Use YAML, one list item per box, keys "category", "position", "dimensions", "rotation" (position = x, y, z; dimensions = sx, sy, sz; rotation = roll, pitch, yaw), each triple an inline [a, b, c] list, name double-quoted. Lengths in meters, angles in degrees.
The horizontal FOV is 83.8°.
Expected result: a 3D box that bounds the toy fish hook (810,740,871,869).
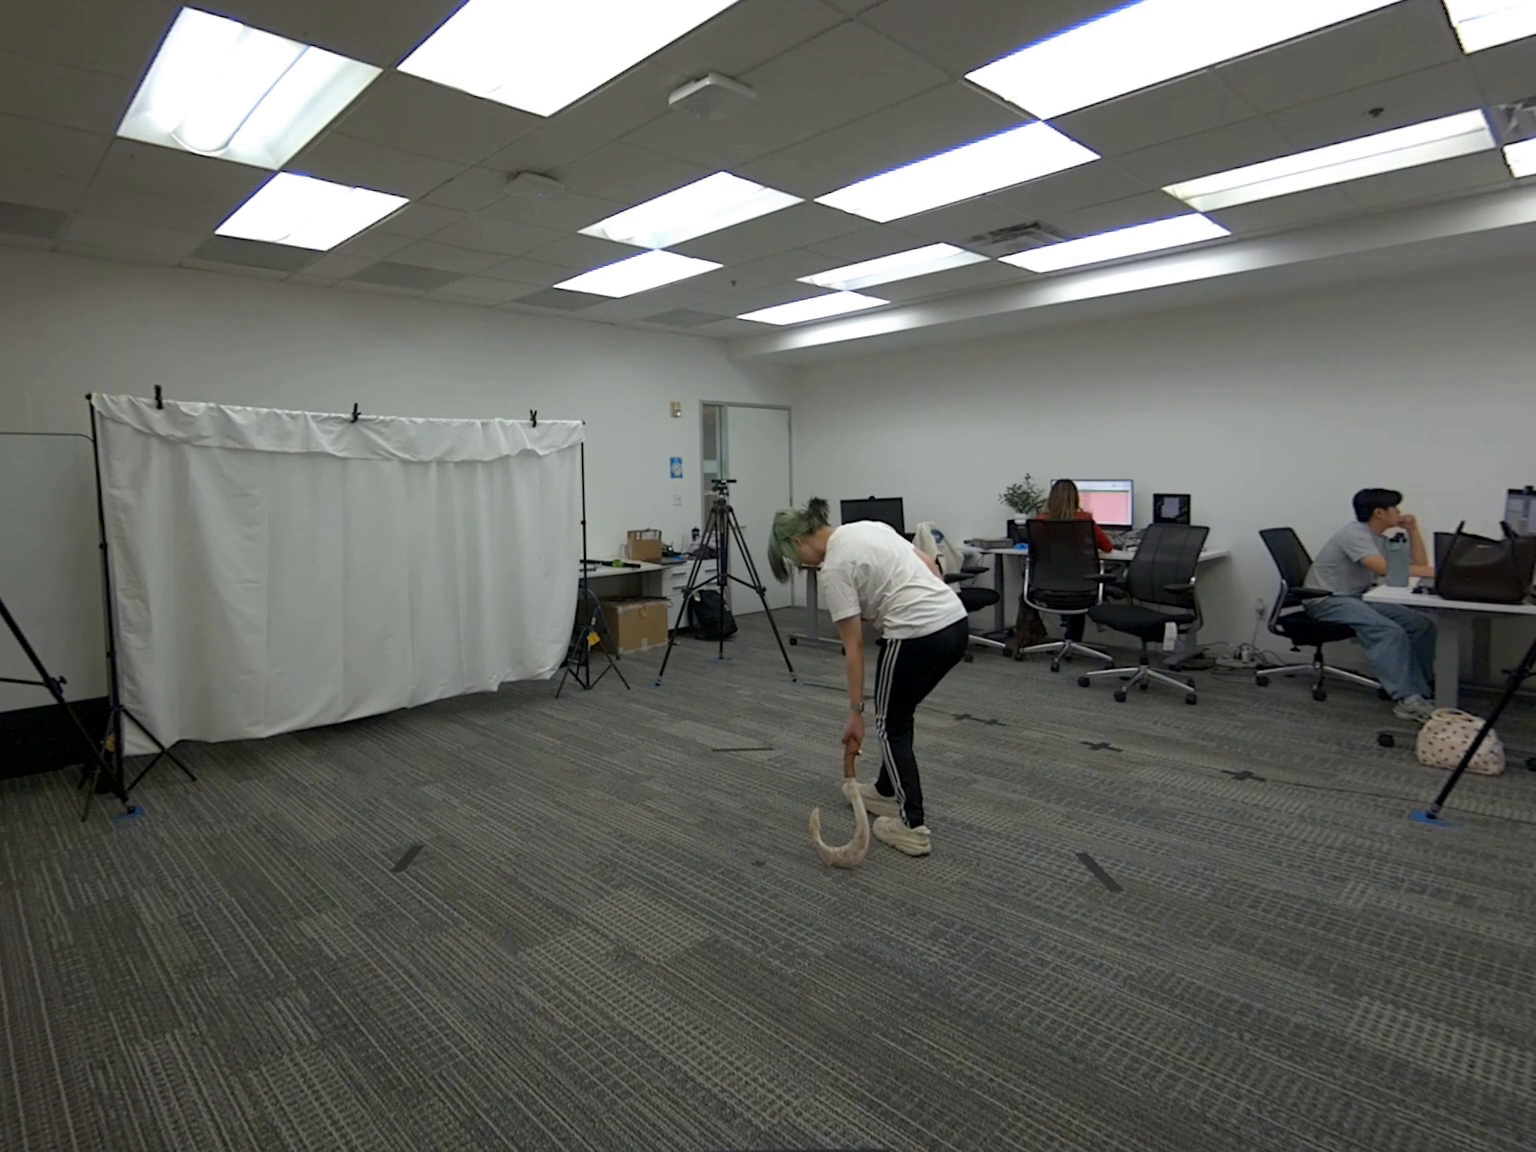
- category: "toy fish hook"
  position: [0.263, 0.802, 3.145]
  dimensions: [0.228, 0.516, 0.046]
  rotation: [-8, -24, 20]
